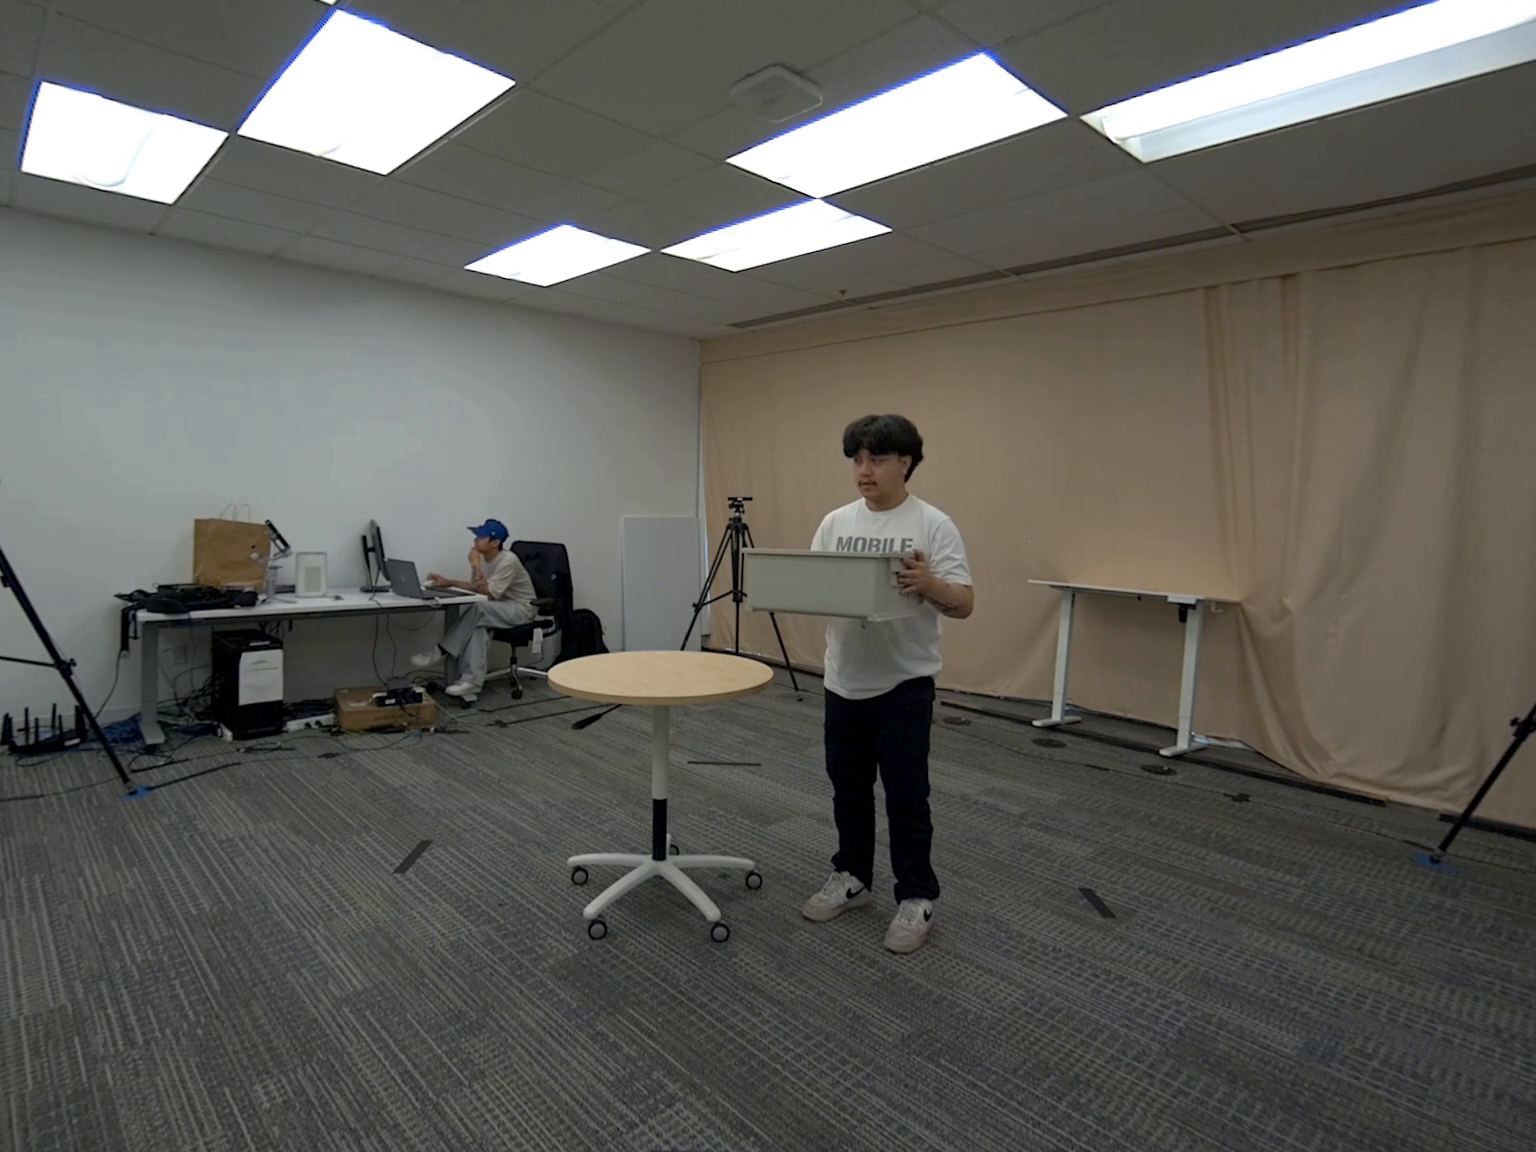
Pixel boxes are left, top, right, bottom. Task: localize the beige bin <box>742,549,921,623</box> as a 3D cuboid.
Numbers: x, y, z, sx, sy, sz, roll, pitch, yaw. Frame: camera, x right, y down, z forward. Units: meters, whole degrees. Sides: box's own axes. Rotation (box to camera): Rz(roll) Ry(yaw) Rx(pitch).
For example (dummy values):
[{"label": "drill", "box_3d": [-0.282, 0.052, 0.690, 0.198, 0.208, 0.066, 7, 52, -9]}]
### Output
[{"label": "beige bin", "box_3d": [0.185, 0.026, 2.414, 0.432, 0.189, 0.369, 3, 2, 31]}]
